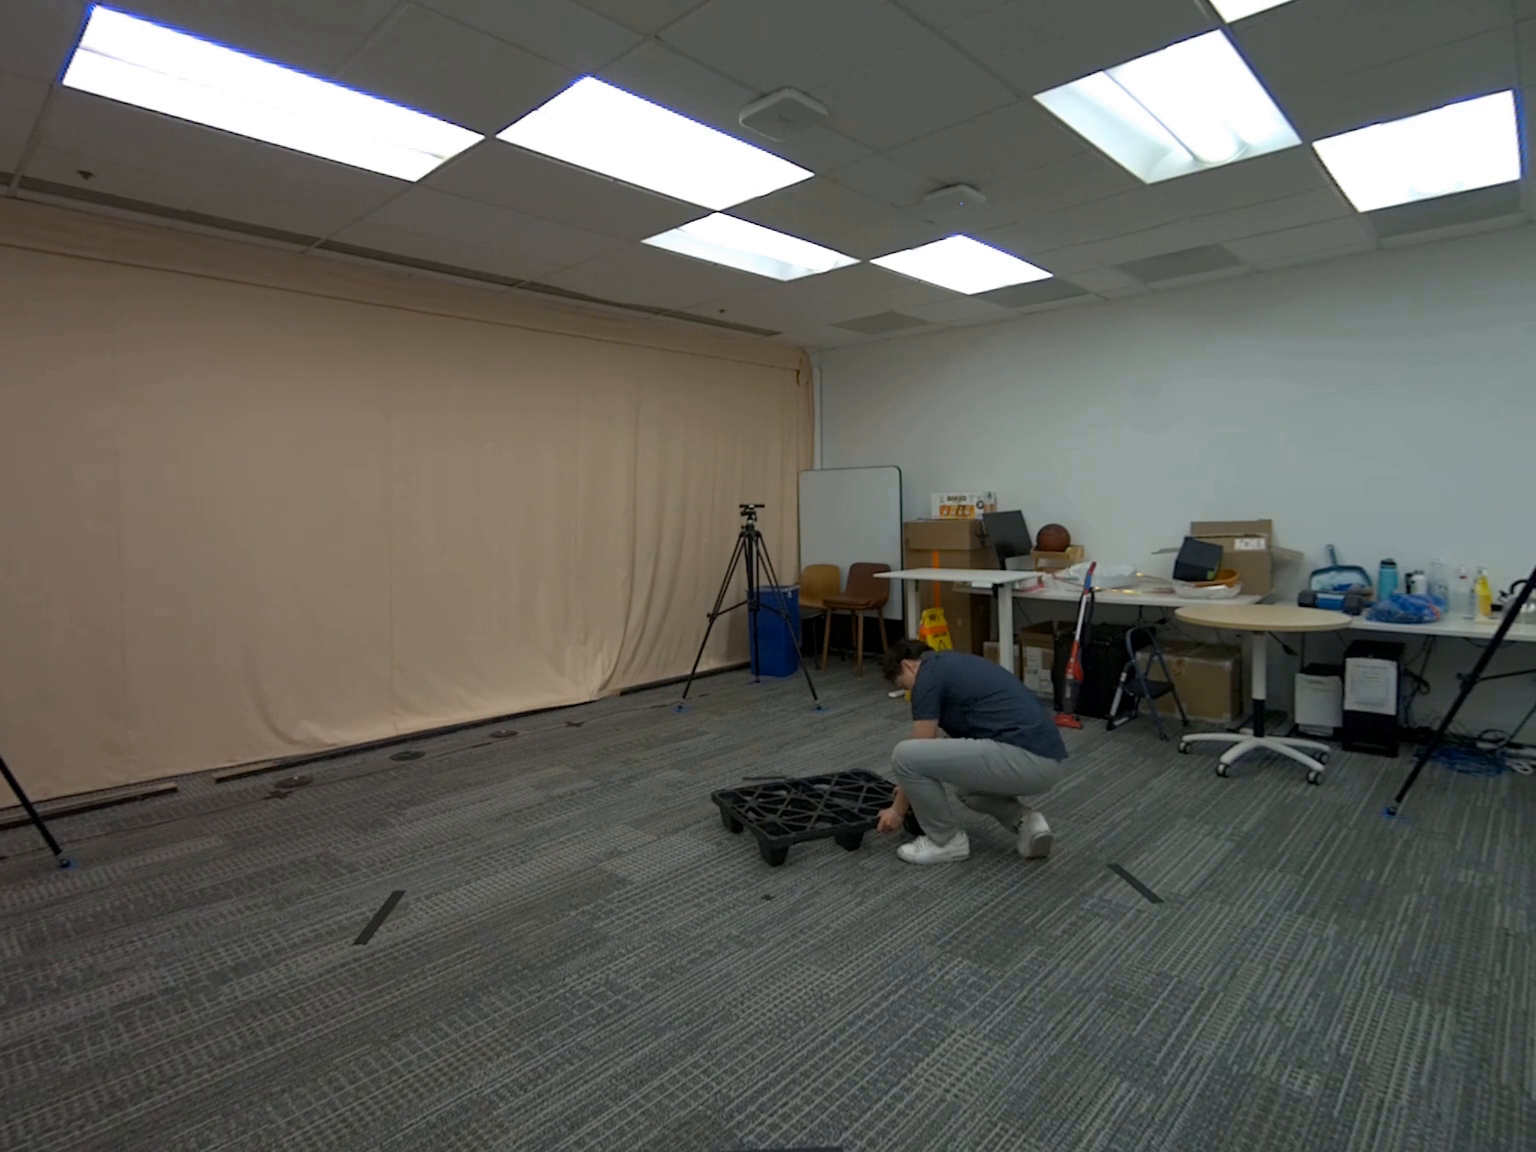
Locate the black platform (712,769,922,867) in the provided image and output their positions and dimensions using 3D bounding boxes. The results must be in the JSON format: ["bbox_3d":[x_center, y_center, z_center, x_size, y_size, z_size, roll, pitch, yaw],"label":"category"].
[{"bbox_3d":[0.232,1.018,3.590,0.787,0.143,0.620,-2,4,-24],"label":"black platform"}]
